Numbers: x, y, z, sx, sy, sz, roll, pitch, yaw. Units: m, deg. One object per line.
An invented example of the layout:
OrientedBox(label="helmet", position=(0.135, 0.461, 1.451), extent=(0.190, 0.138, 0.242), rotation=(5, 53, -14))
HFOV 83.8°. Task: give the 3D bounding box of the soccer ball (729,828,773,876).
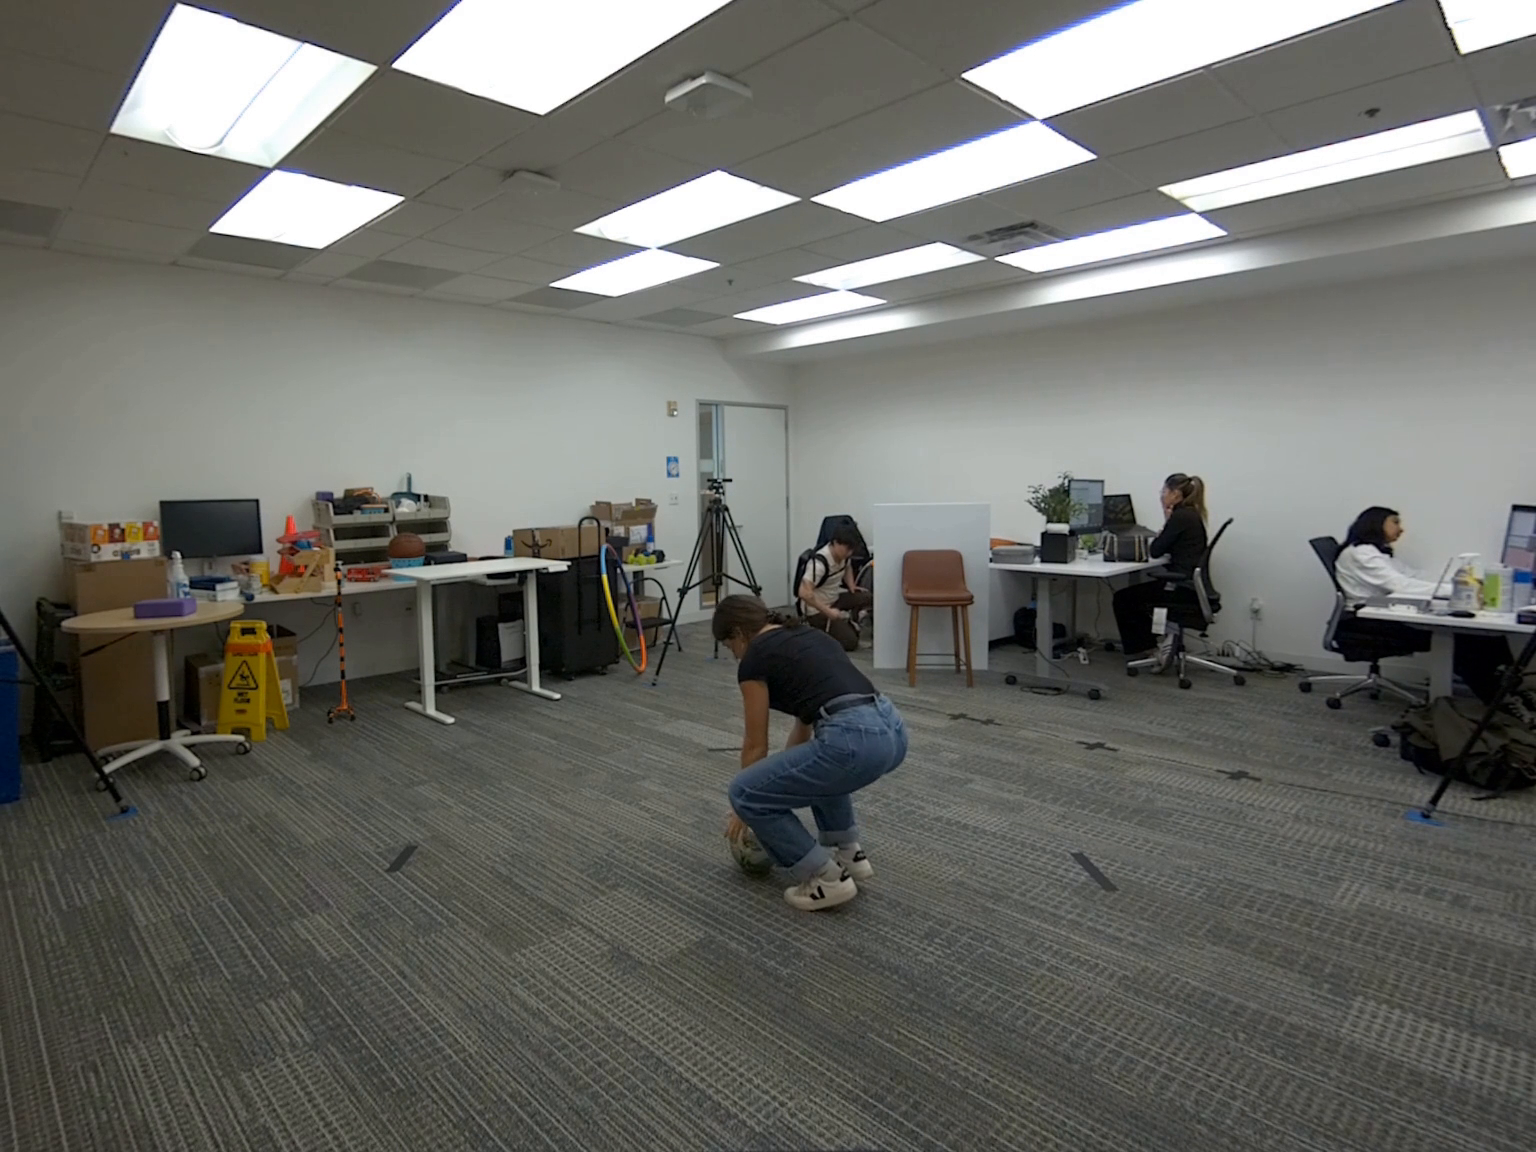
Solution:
OrientedBox(label="soccer ball", position=(-0.031, 0.965, 3.063), extent=(0.187, 0.187, 0.188), rotation=(-1, 5, -2))
